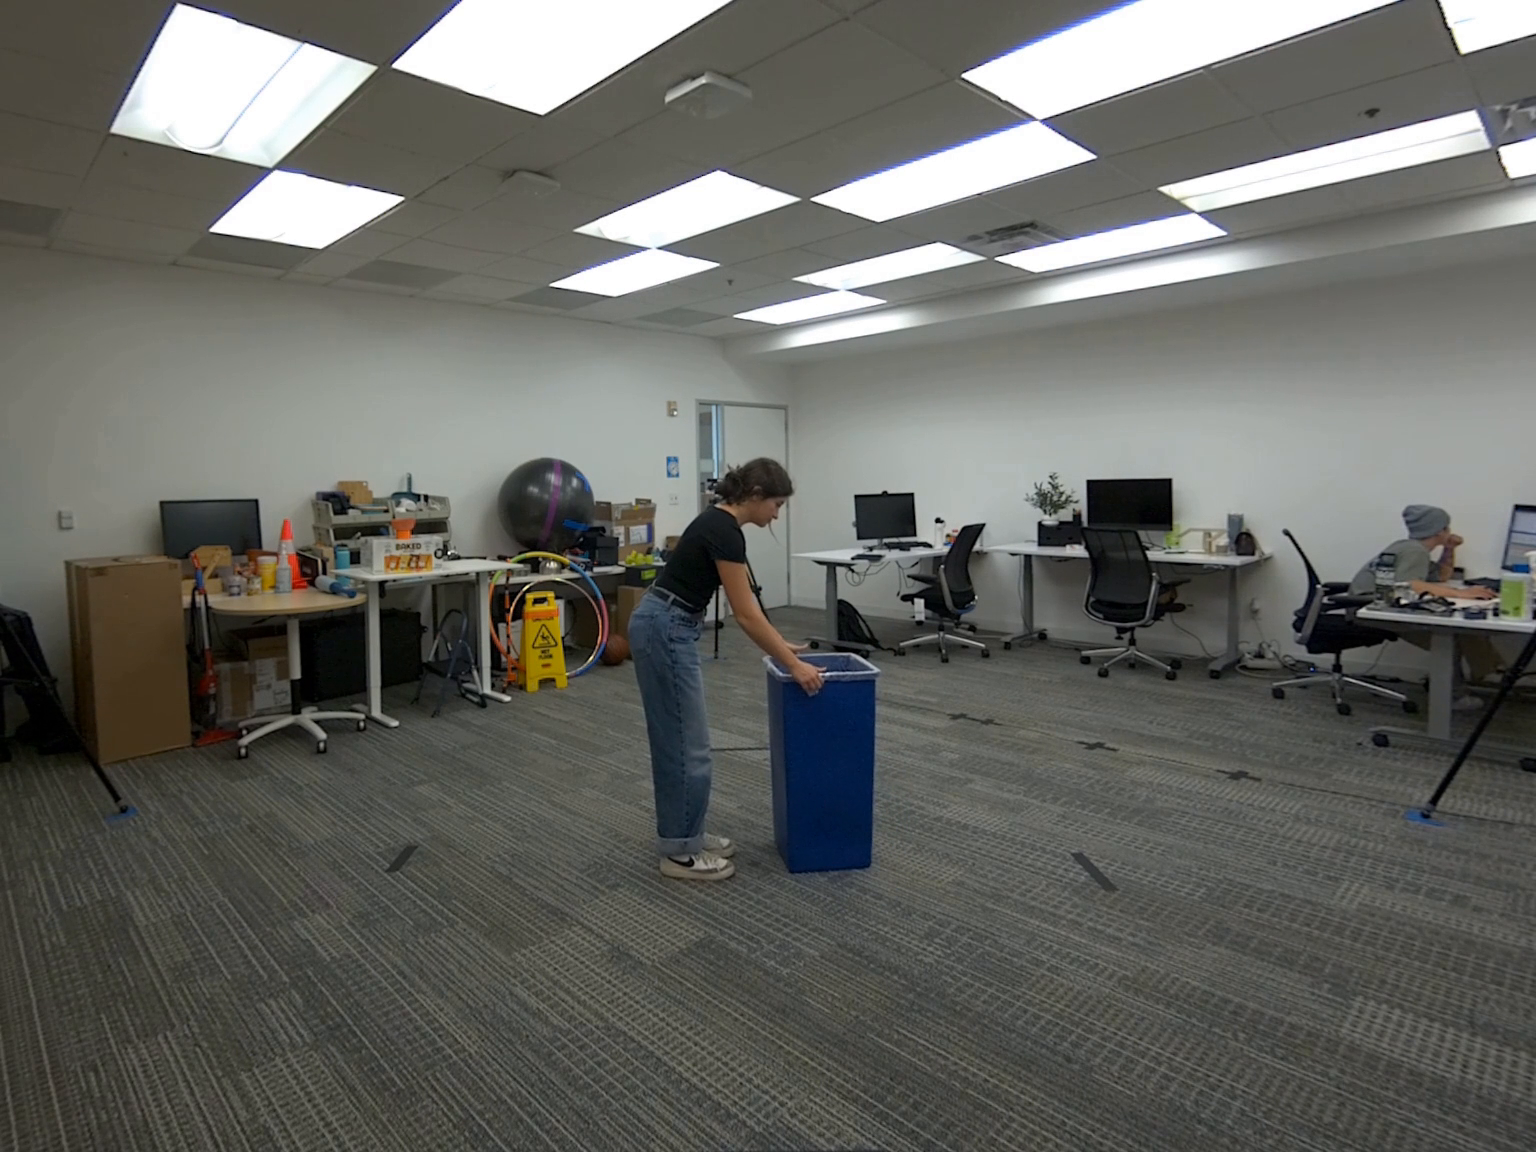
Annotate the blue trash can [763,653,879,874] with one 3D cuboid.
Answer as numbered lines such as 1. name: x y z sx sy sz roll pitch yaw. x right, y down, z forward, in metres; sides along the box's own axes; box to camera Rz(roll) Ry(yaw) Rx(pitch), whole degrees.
1. blue trash can: 0.190 0.678 3.165 0.375 0.711 0.379 -1 5 -10
